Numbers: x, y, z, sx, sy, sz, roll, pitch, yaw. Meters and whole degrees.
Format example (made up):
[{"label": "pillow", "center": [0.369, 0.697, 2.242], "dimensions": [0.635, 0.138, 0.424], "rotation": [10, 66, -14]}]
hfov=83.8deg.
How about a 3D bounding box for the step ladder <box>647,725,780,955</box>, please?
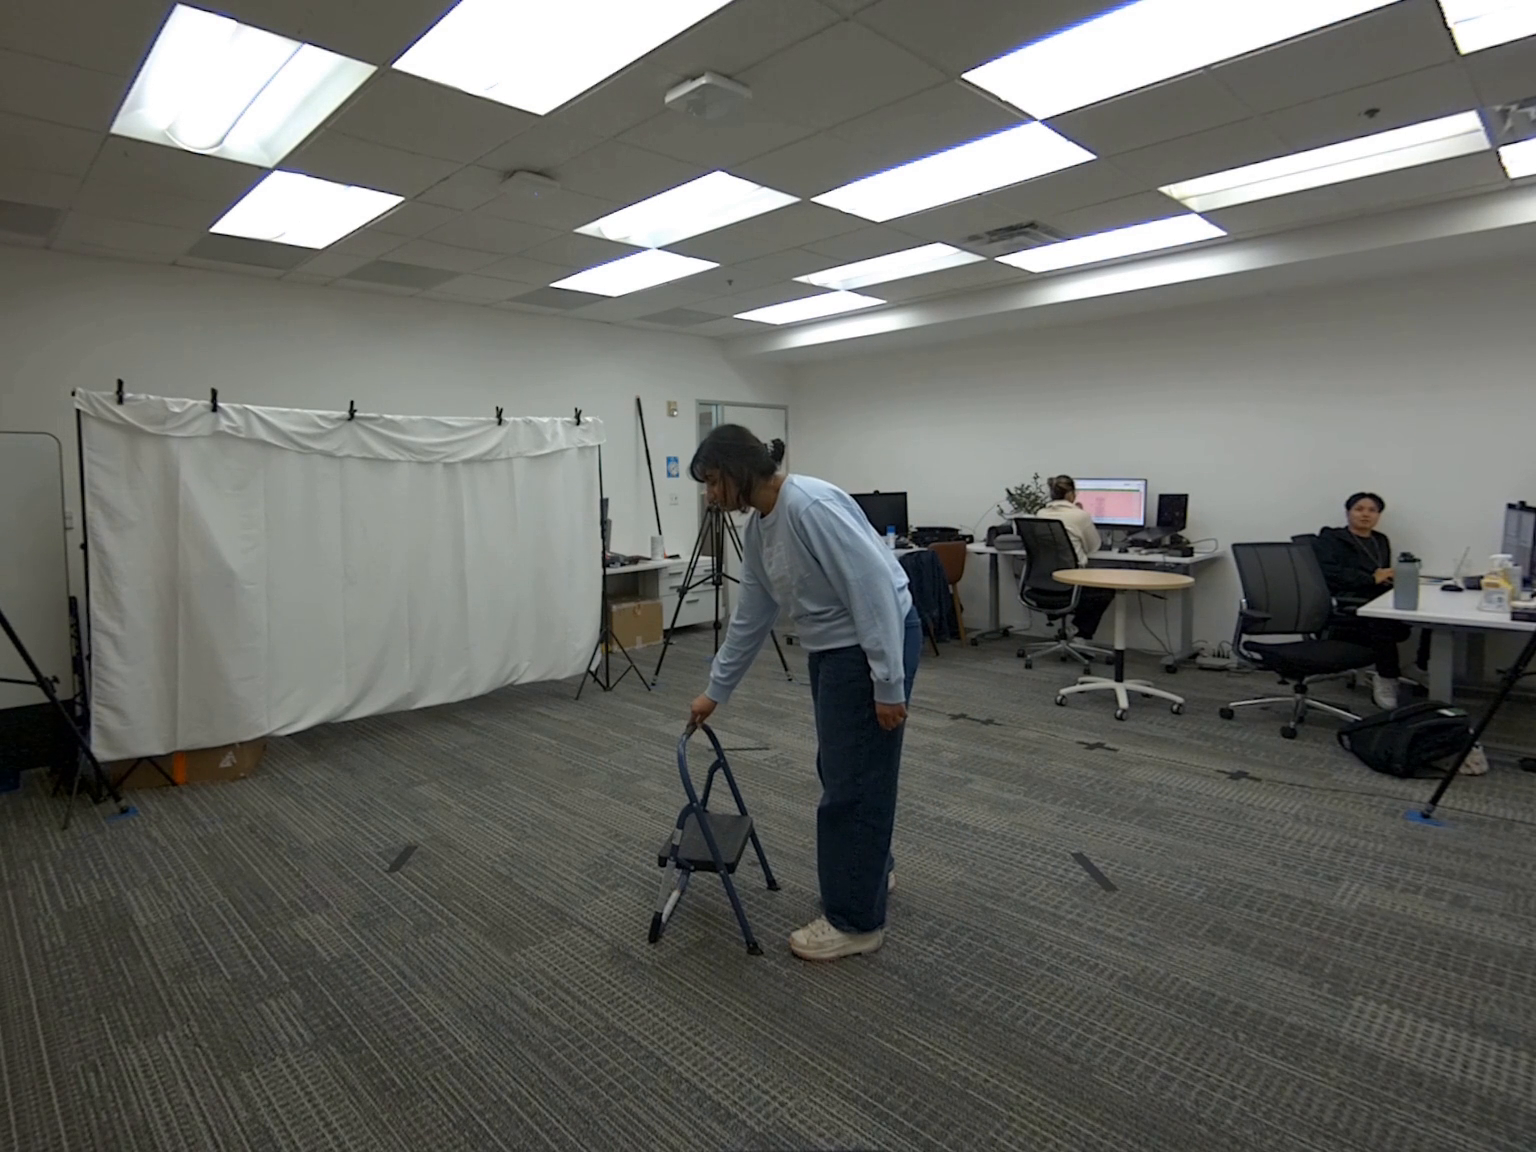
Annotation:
[{"label": "step ladder", "center": [-0.162, 0.791, 2.730], "dimensions": [0.353, 0.604, 0.428], "rotation": [1, 5, 10]}]
